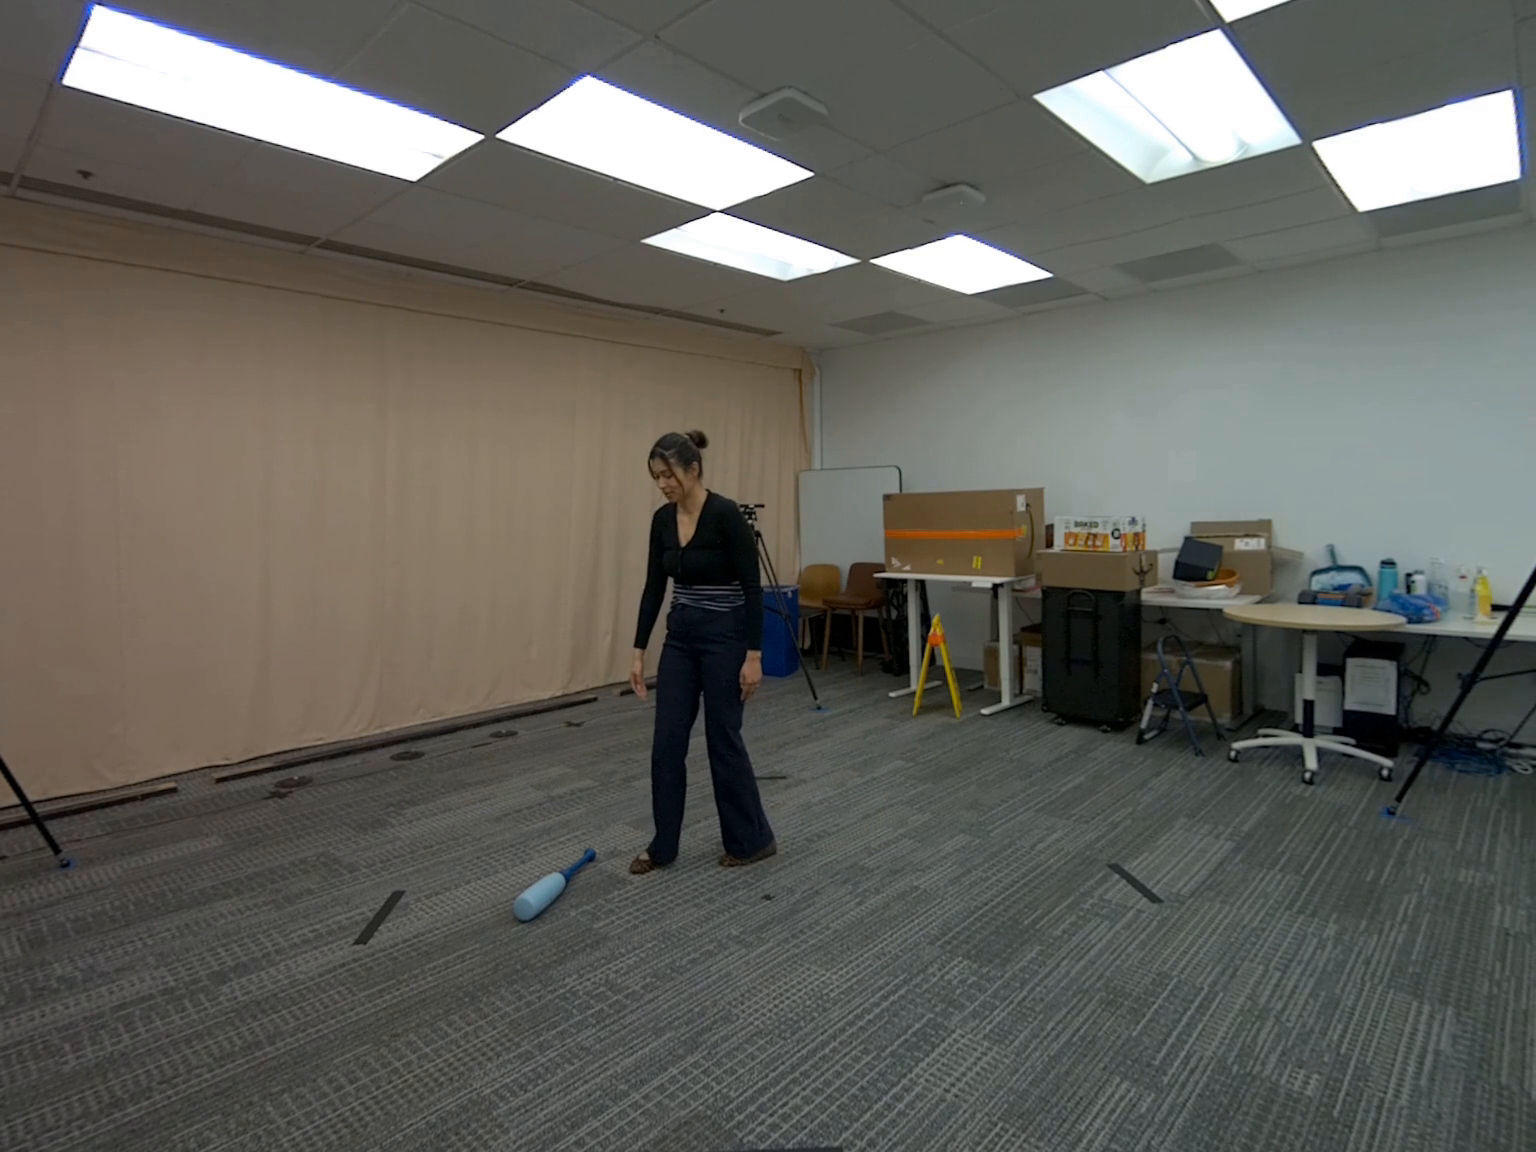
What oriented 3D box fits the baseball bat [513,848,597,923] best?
[{"bbox_3d":[-0.762,1.114,3.081,0.090,0.089,0.535,0,1,12],"label":"baseball bat"}]
